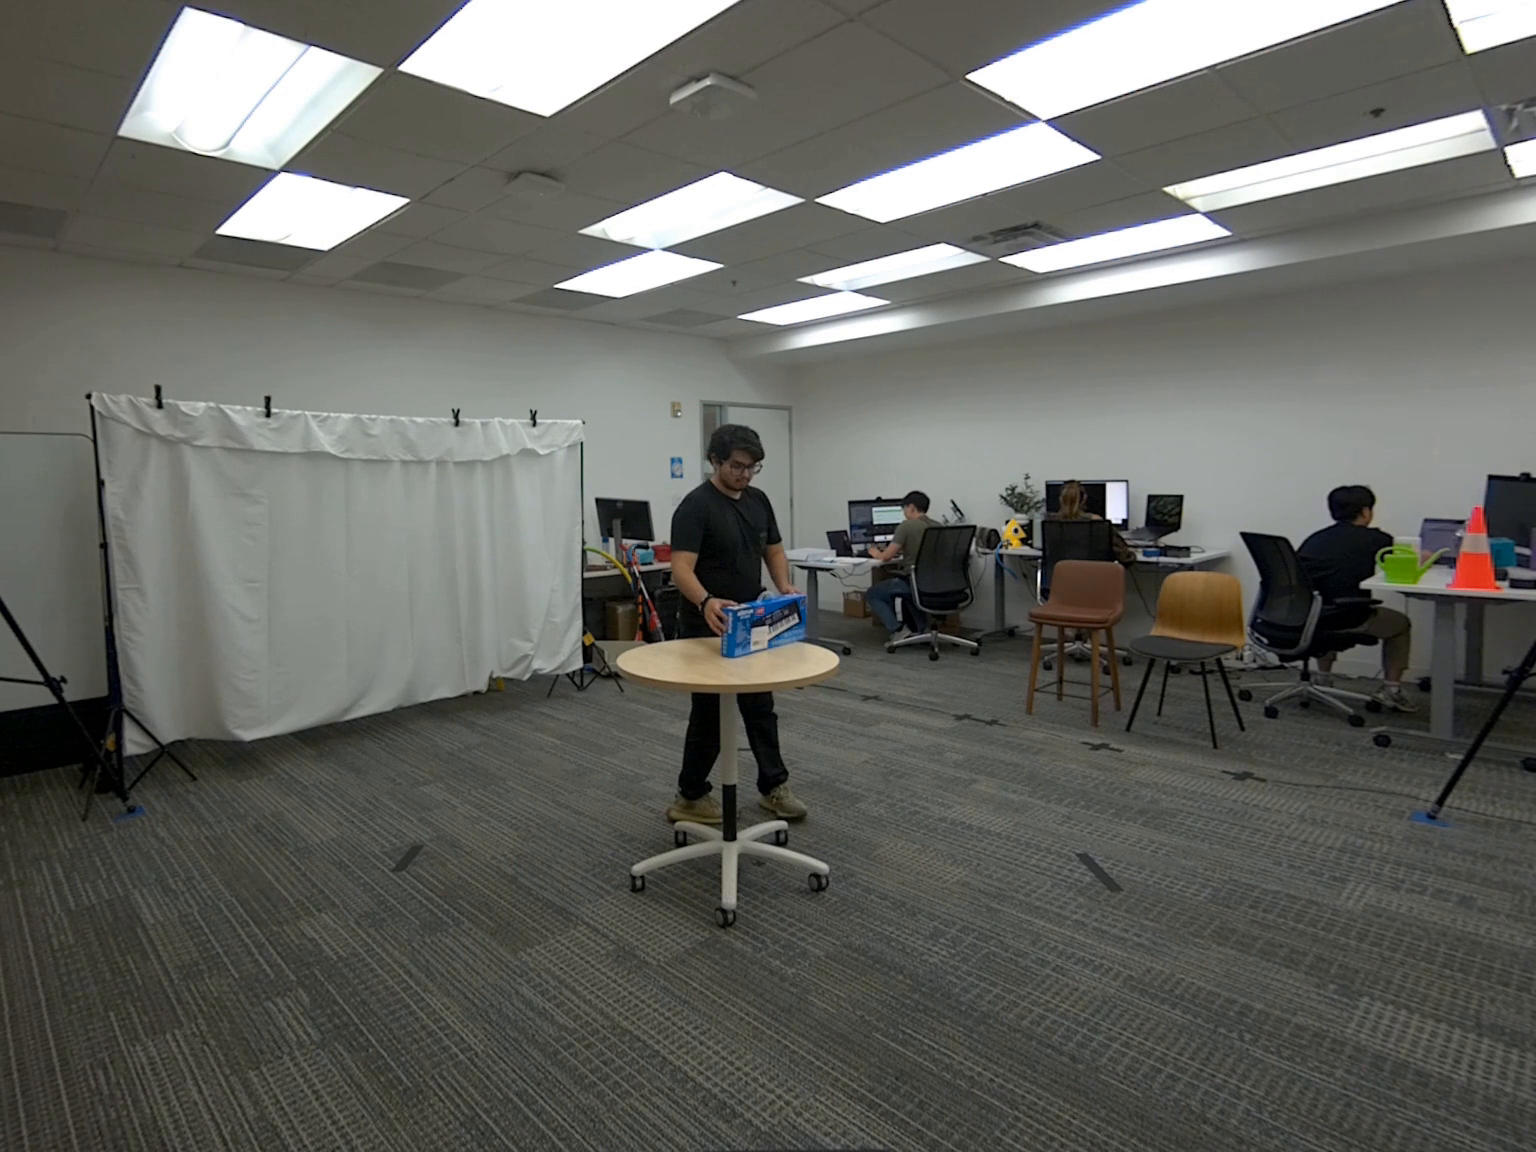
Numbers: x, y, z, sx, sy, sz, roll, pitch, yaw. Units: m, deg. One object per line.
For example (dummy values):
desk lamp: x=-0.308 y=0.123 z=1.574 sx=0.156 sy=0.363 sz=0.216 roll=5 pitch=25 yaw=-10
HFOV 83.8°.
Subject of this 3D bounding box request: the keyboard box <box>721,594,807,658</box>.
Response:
keyboard box: x=-0.015 y=0.178 z=3.112 sx=0.061 sy=0.175 sz=0.426 roll=5 pitch=8 yaw=37
